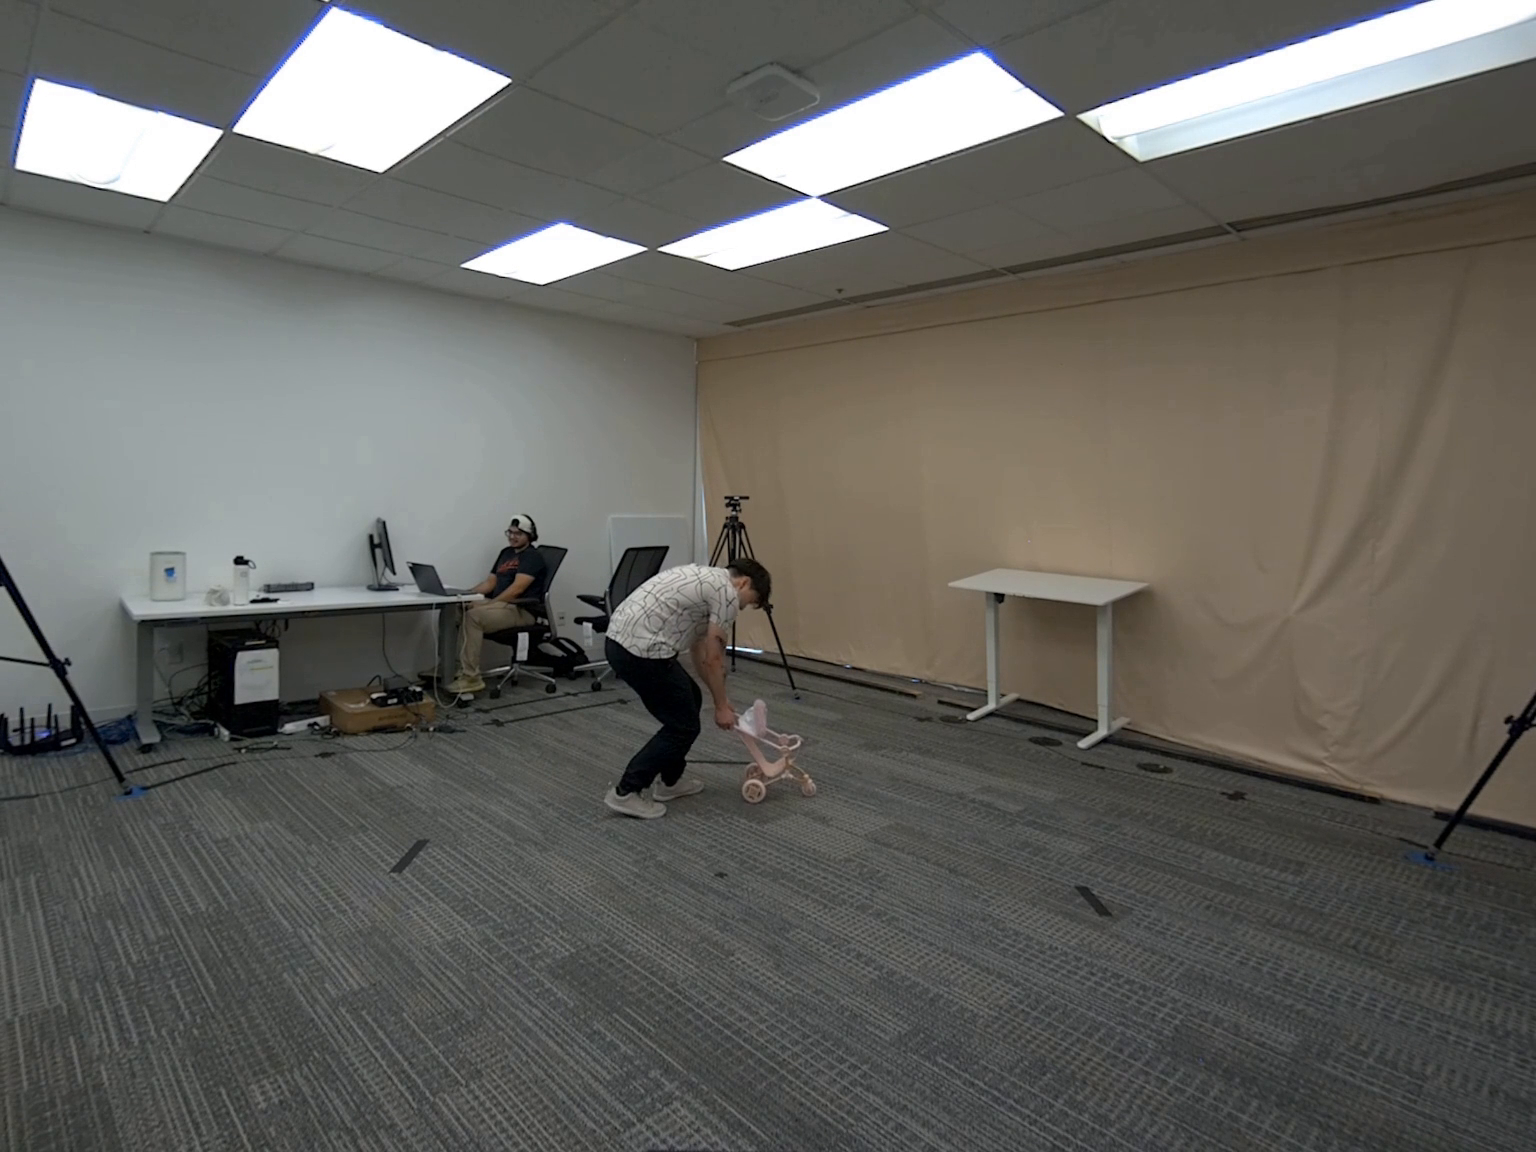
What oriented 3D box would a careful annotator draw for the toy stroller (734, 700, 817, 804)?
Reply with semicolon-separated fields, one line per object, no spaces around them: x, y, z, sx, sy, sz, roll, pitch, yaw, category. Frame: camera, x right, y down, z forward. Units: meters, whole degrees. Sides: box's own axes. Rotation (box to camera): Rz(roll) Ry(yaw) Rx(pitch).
-0.016;0.817;3.973;0.342;0.534;0.280;-18;1;7;toy stroller
